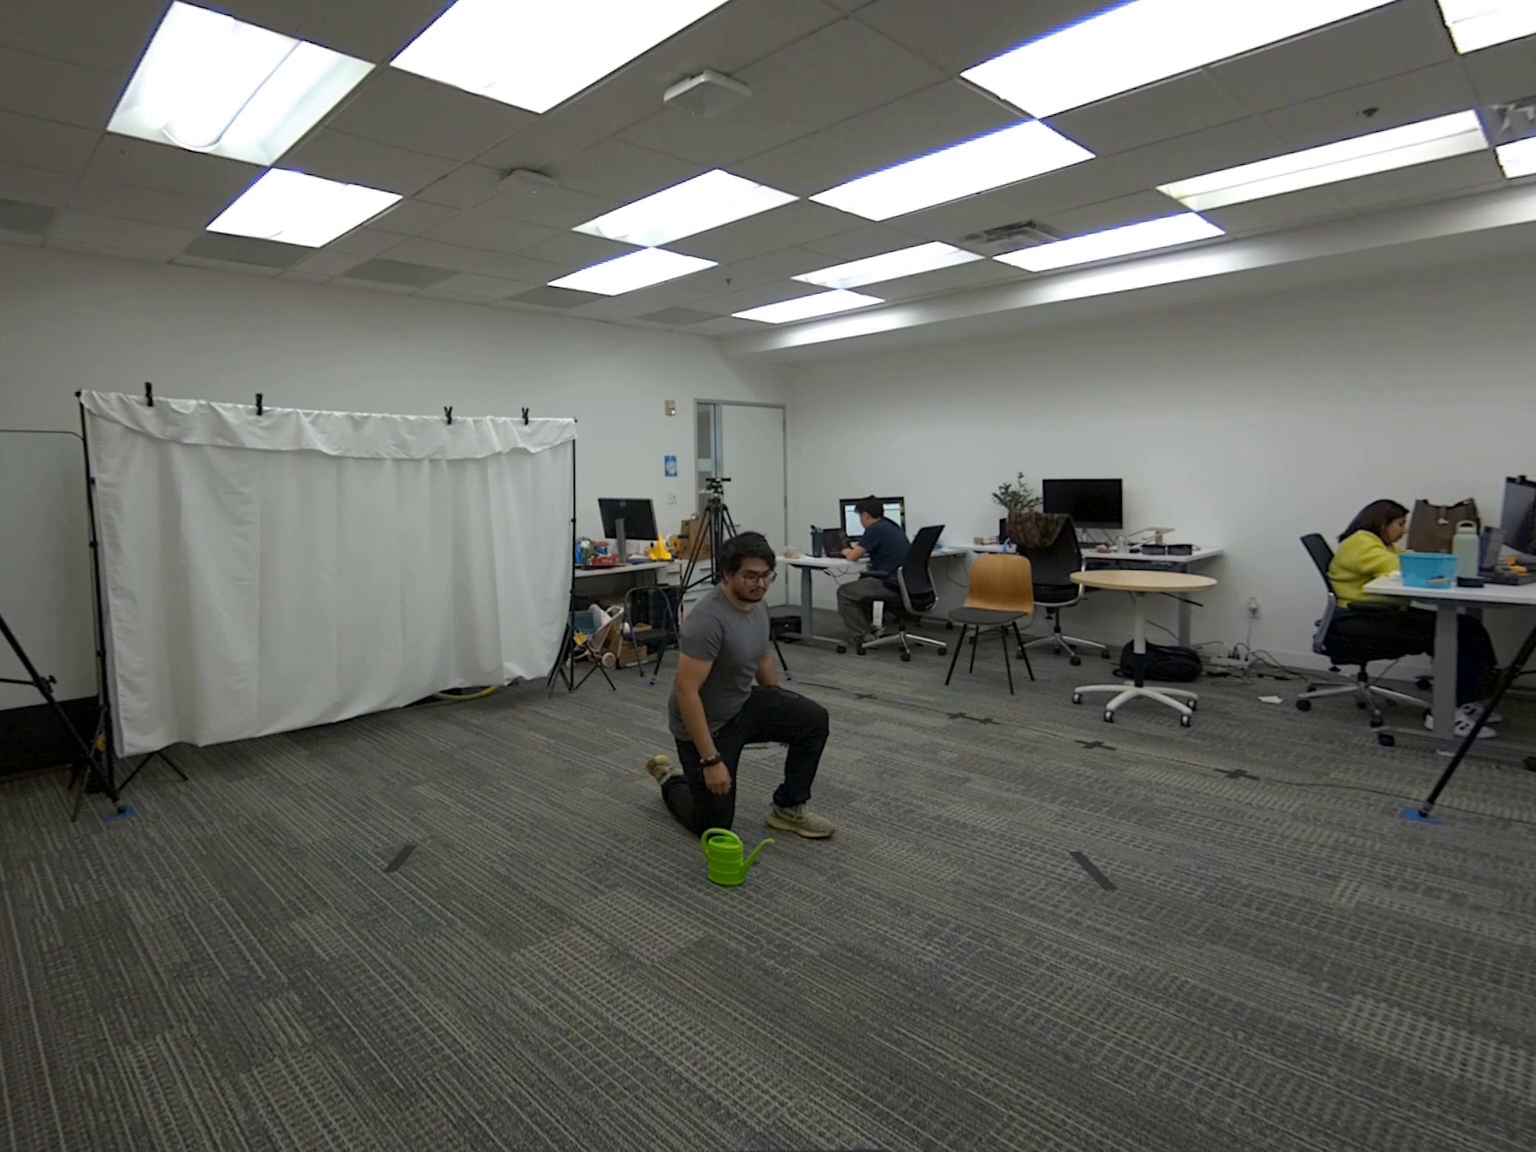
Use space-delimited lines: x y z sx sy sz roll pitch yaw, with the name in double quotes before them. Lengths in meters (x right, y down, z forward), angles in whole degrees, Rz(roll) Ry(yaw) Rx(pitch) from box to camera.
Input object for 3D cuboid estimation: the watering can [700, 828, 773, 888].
"watering can" -0.110 0.977 2.943 0.287 0.176 0.095 4 7 41
